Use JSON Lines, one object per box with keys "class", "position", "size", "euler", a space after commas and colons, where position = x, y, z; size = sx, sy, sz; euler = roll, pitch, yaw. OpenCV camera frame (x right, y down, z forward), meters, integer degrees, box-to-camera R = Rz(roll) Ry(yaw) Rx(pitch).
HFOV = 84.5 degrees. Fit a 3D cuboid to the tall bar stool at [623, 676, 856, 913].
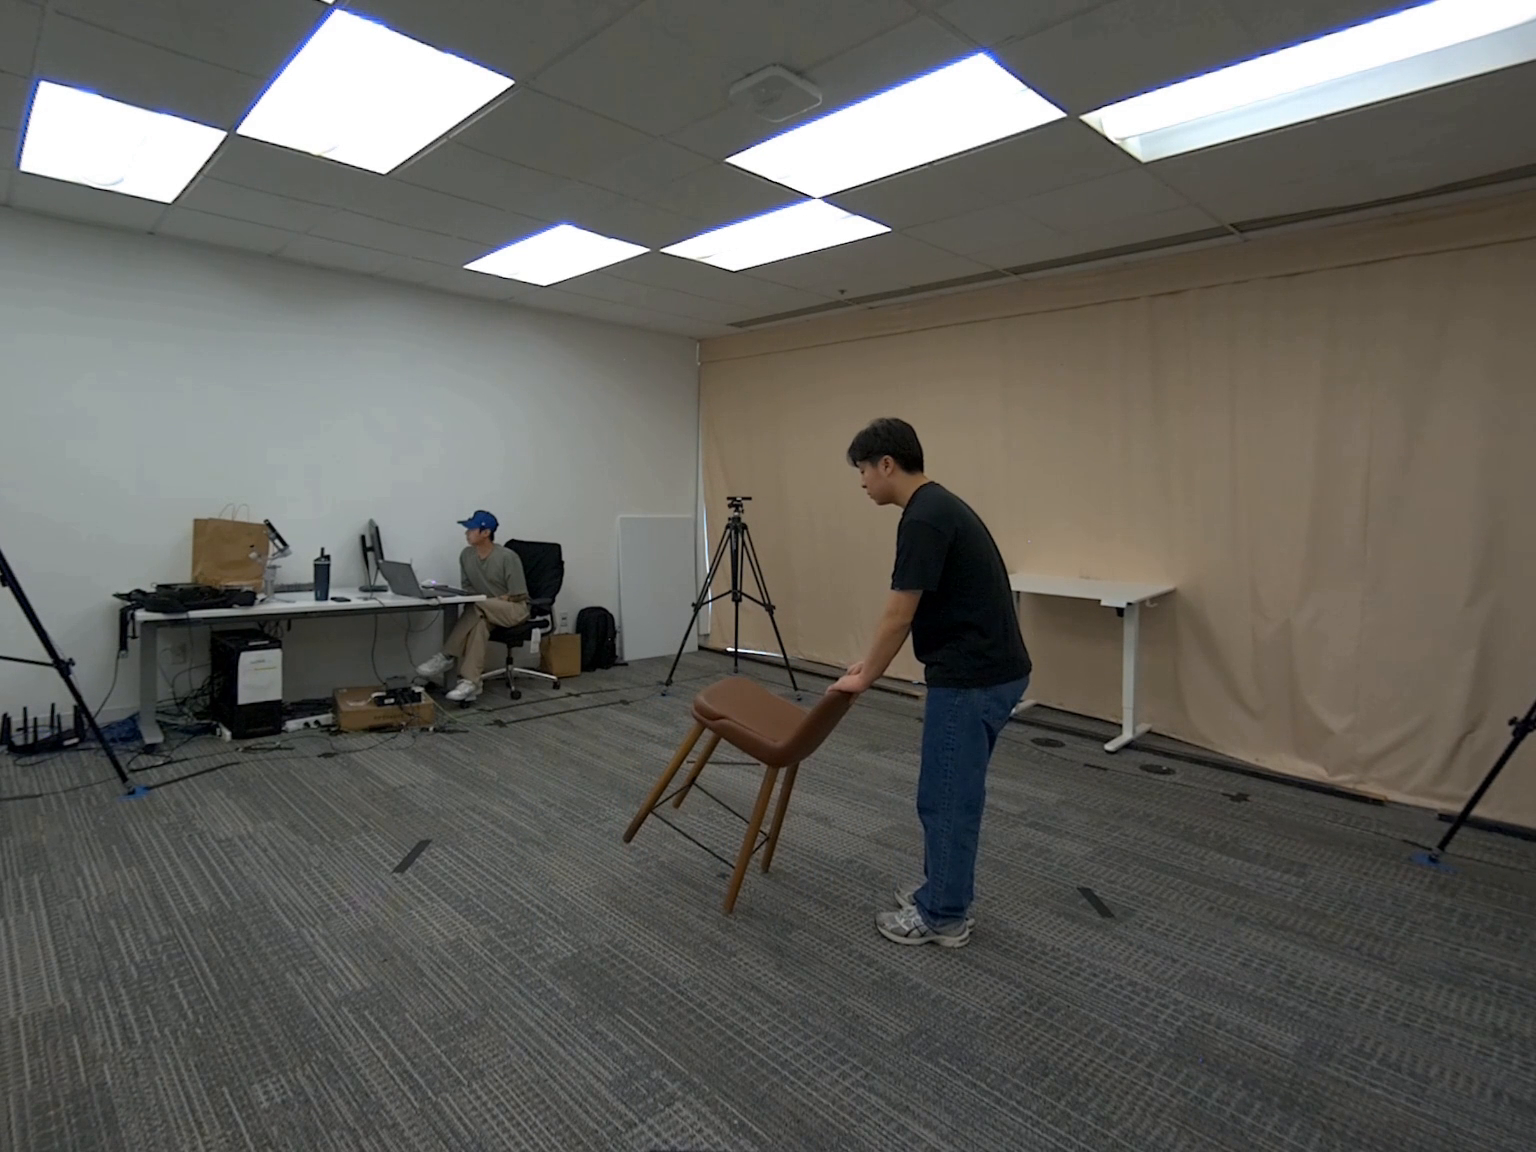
{"class": "tall bar stool", "position": [-0.072, 0.638, 2.967], "size": [0.477, 0.886, 0.449], "euler": [31, 14, 19]}
